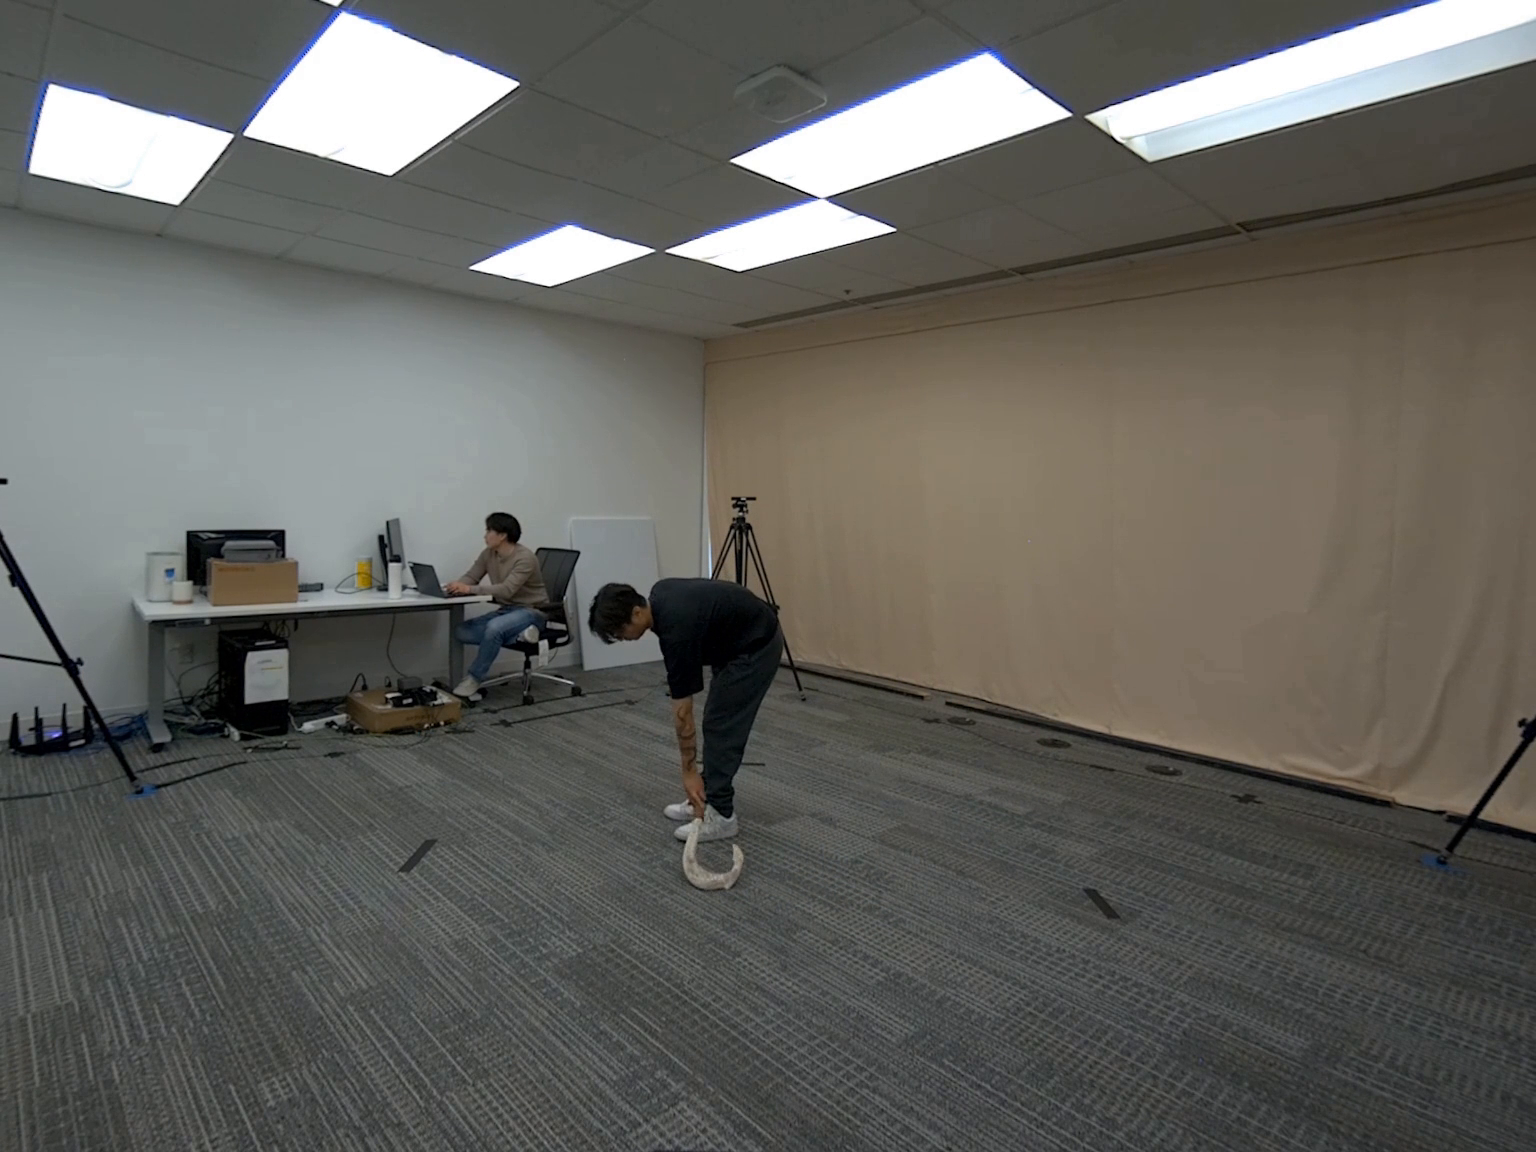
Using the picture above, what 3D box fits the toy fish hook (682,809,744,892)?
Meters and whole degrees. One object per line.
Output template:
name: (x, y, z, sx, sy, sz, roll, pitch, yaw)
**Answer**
toy fish hook: (-0.229, 0.982, 3.201, 0.223, 0.047, 0.518, 5, 31, -11)
